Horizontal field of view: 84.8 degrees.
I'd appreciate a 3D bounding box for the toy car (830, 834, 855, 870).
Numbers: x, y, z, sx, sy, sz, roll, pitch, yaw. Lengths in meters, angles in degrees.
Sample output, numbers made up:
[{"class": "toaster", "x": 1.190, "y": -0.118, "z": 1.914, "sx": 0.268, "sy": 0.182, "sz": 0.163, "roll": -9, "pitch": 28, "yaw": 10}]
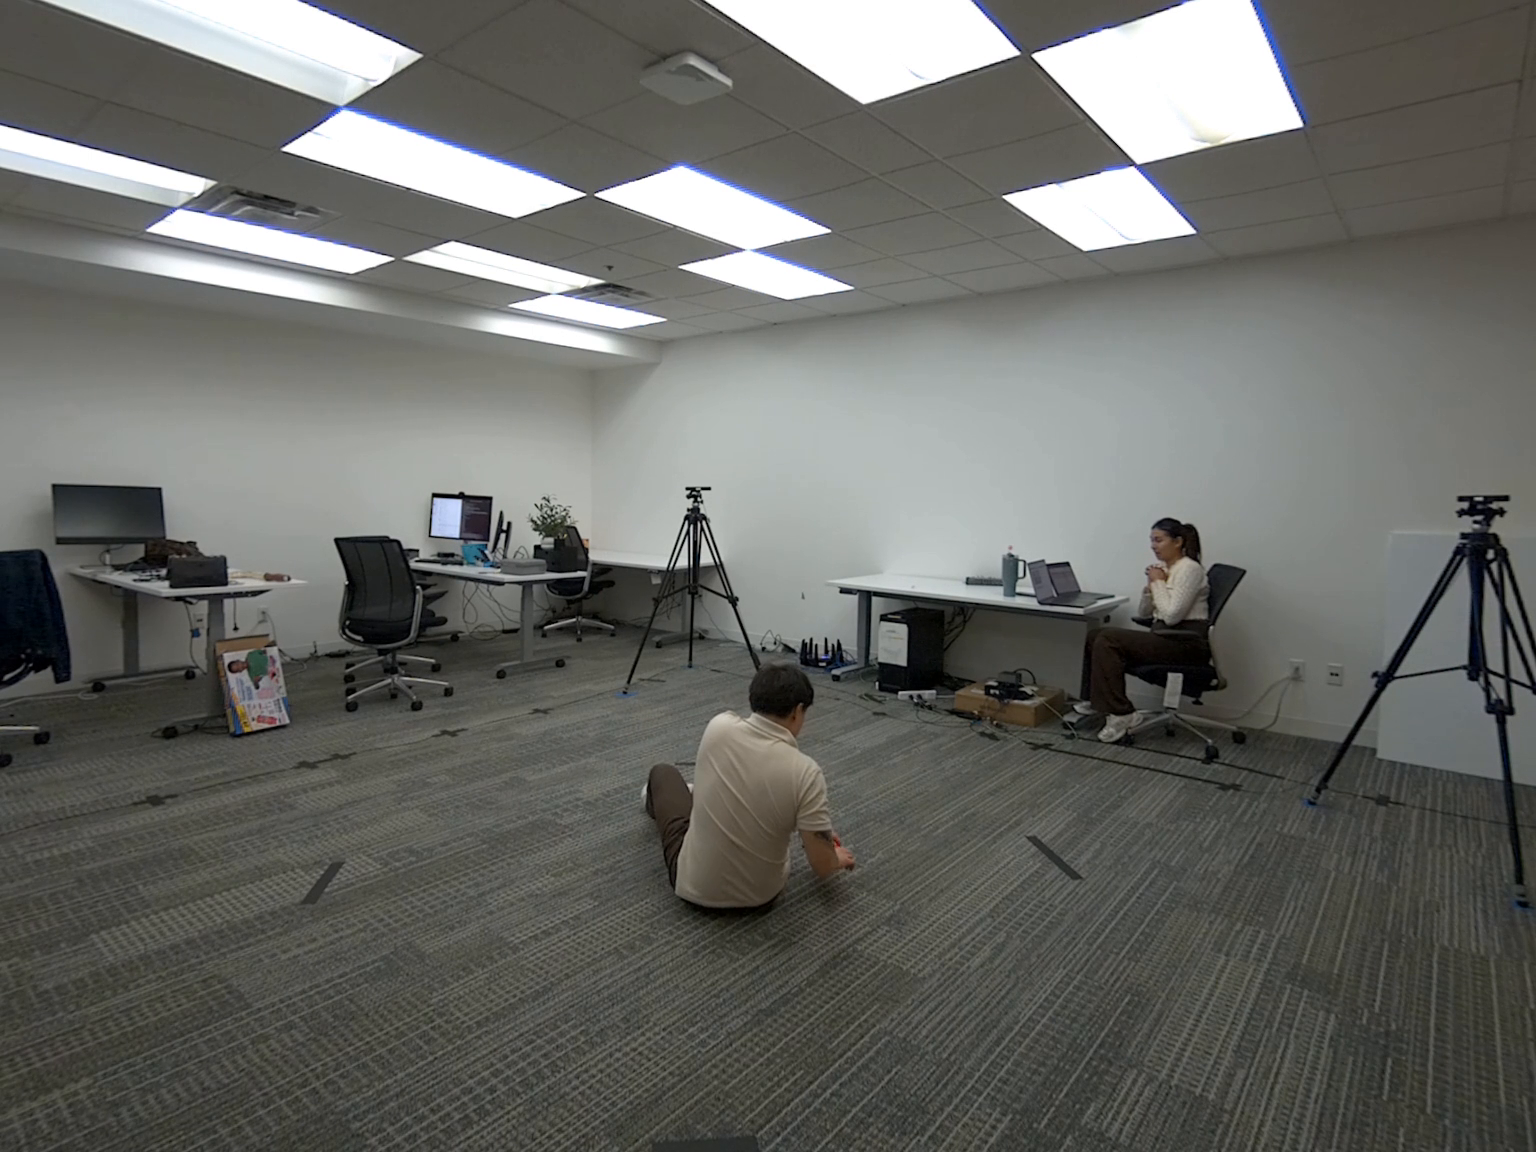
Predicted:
[{"class": "toy car", "x": 0.191, "y": 0.966, "z": 3.015, "sx": 0.129, "sy": 0.083, "sz": 0.256, "roll": -9, "pitch": 0, "yaw": -11}]
